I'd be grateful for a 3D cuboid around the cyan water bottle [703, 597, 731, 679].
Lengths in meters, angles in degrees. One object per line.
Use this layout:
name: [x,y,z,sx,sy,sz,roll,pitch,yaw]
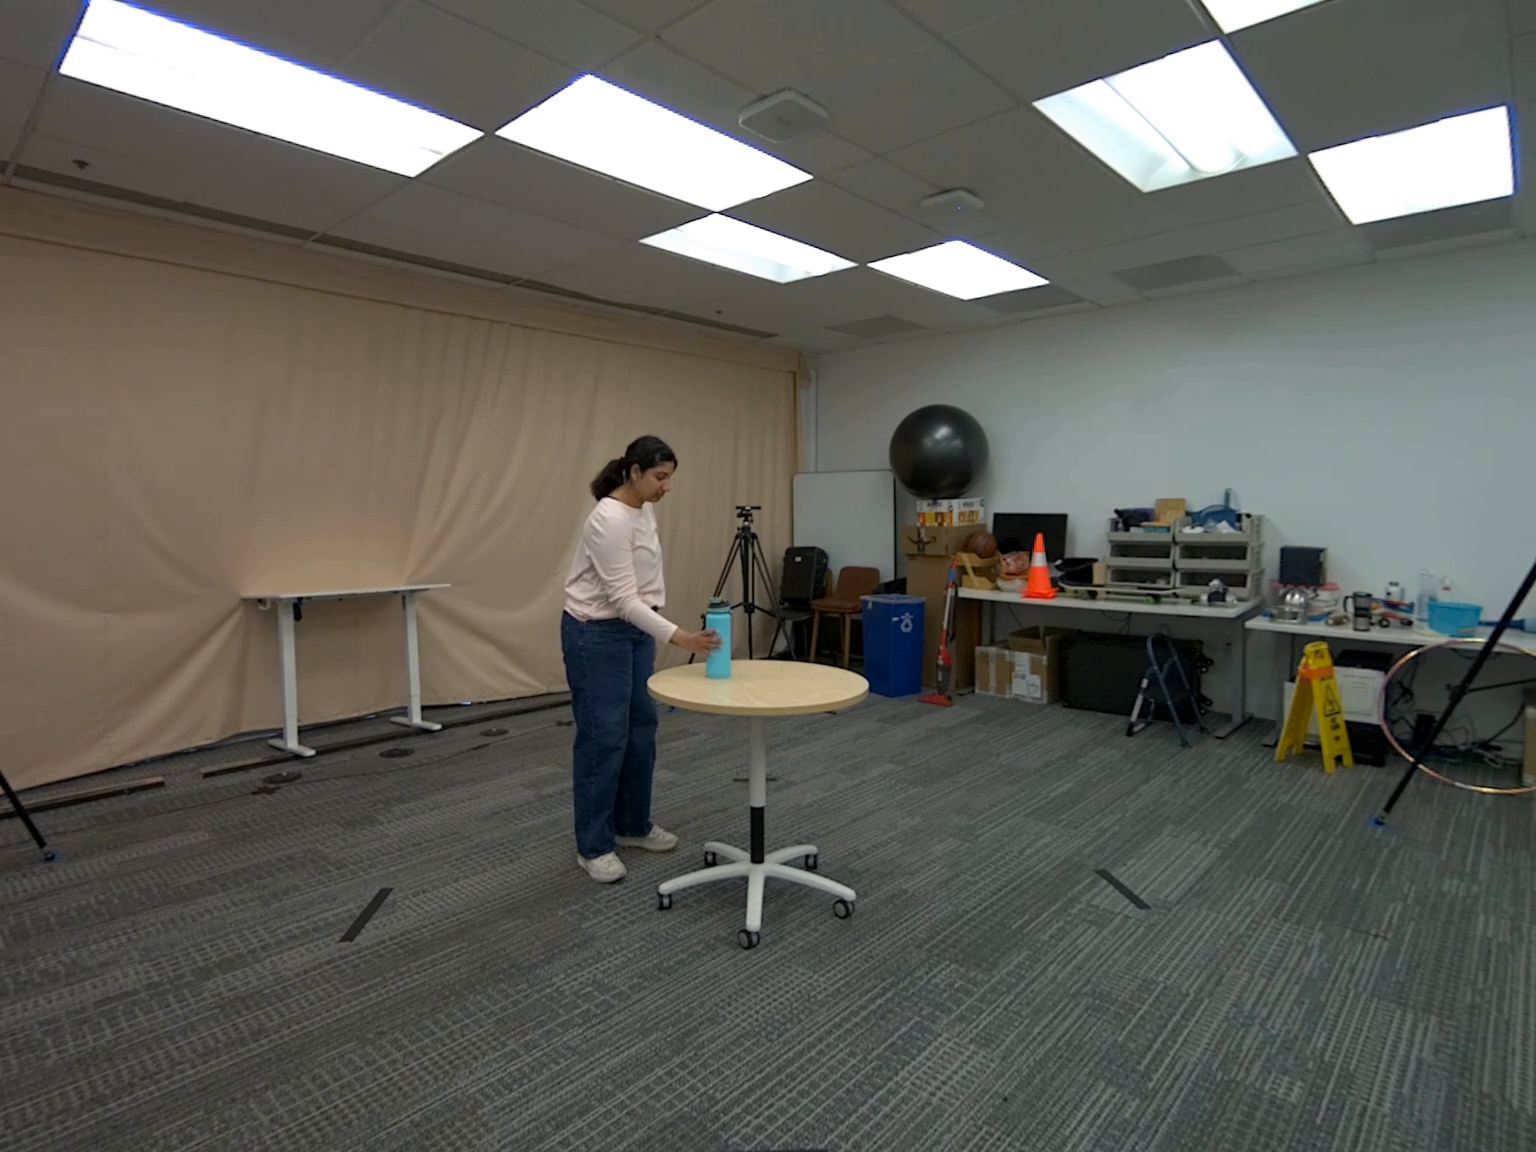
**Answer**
cyan water bottle: [-0.165,0.221,2.995,0.092,0.283,0.092,5,2,-2]
